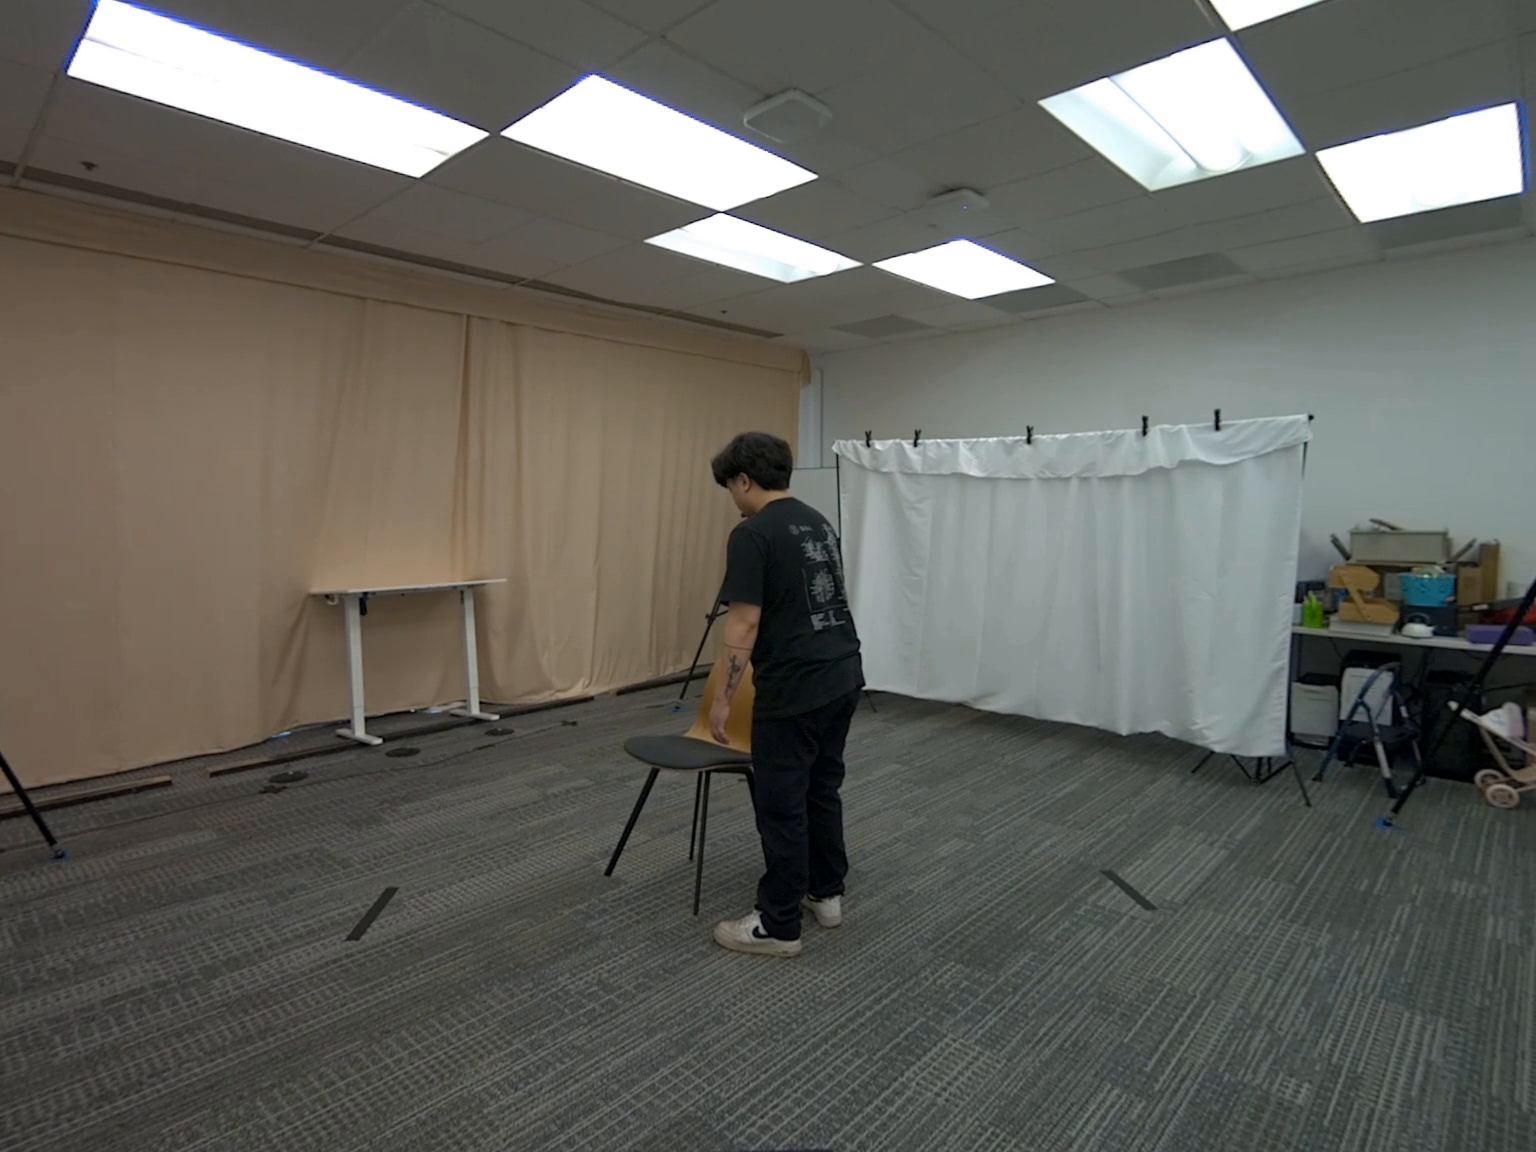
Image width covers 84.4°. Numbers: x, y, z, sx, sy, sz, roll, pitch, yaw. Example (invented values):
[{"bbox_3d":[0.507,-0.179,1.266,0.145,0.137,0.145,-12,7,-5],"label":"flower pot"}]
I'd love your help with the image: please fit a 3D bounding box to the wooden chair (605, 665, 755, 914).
[{"bbox_3d":[-0.226,0.679,3.033,0.494,0.880,0.504,3,-10,40],"label":"wooden chair"}]
